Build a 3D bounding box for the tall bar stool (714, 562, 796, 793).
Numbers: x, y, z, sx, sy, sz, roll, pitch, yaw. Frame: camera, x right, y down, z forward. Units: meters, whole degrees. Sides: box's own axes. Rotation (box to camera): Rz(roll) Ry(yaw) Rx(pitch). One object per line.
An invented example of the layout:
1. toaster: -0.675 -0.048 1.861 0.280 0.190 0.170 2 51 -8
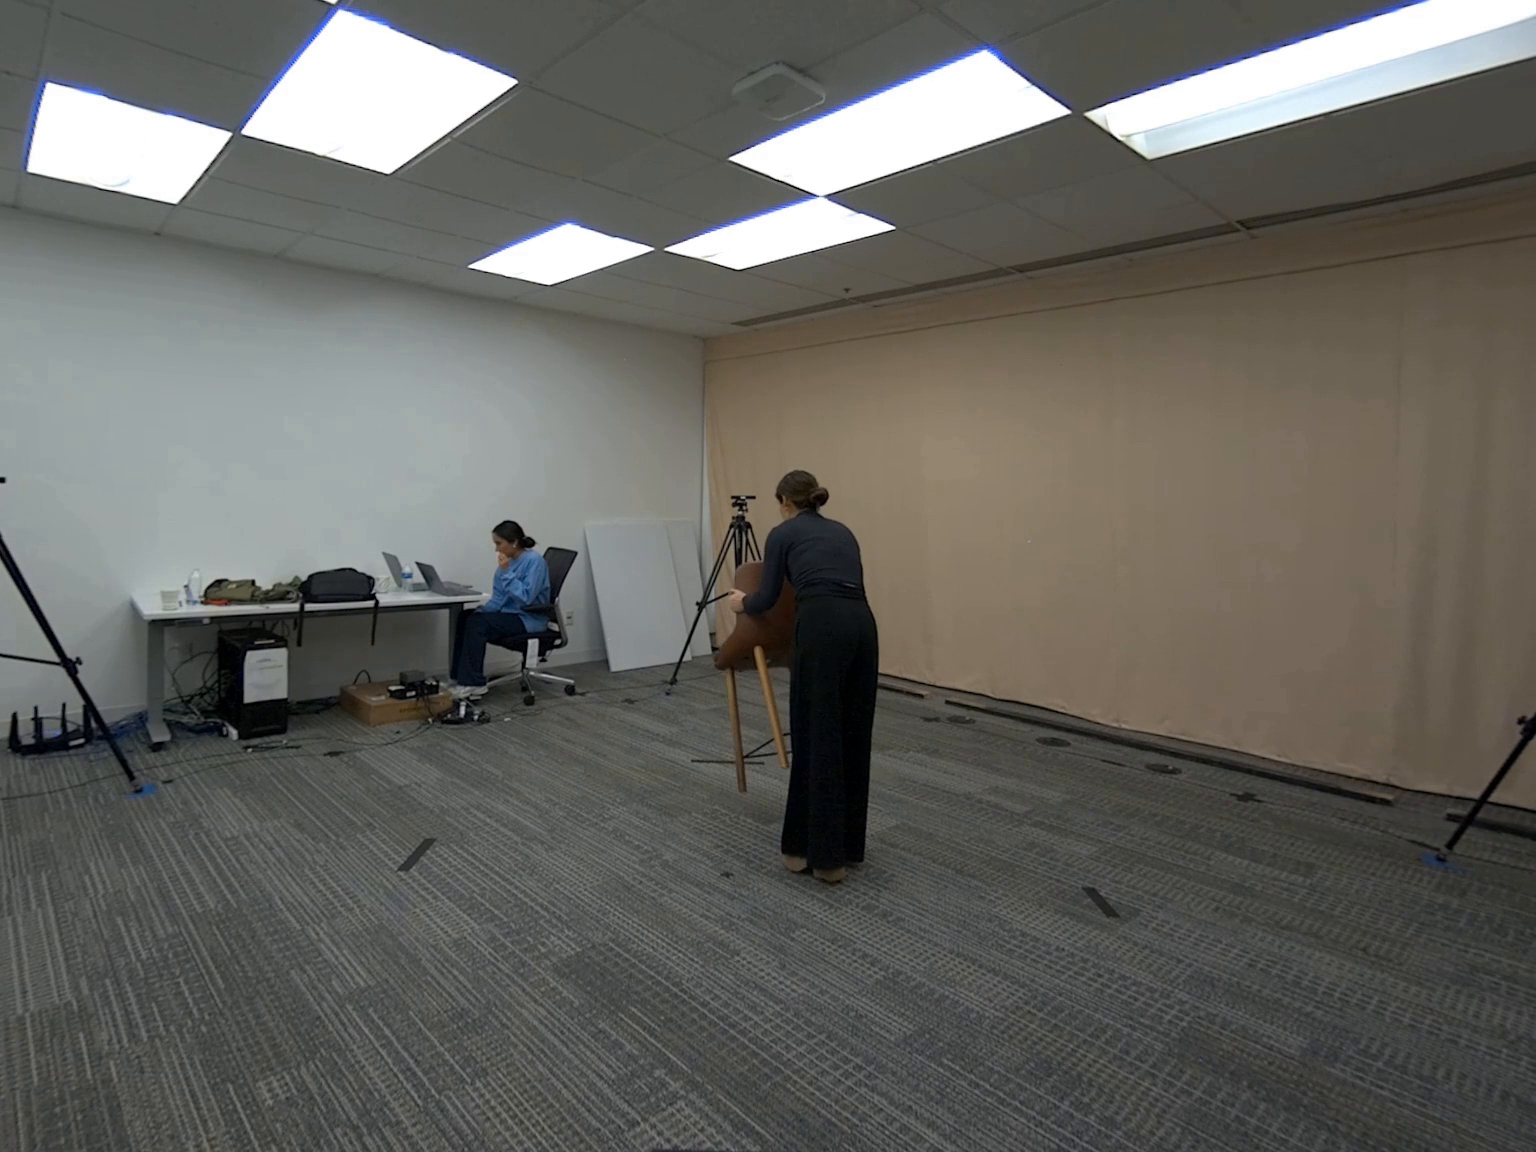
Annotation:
1. tall bar stool: 0.037 0.430 3.651 0.449 0.906 0.467 -2 -24 -25
